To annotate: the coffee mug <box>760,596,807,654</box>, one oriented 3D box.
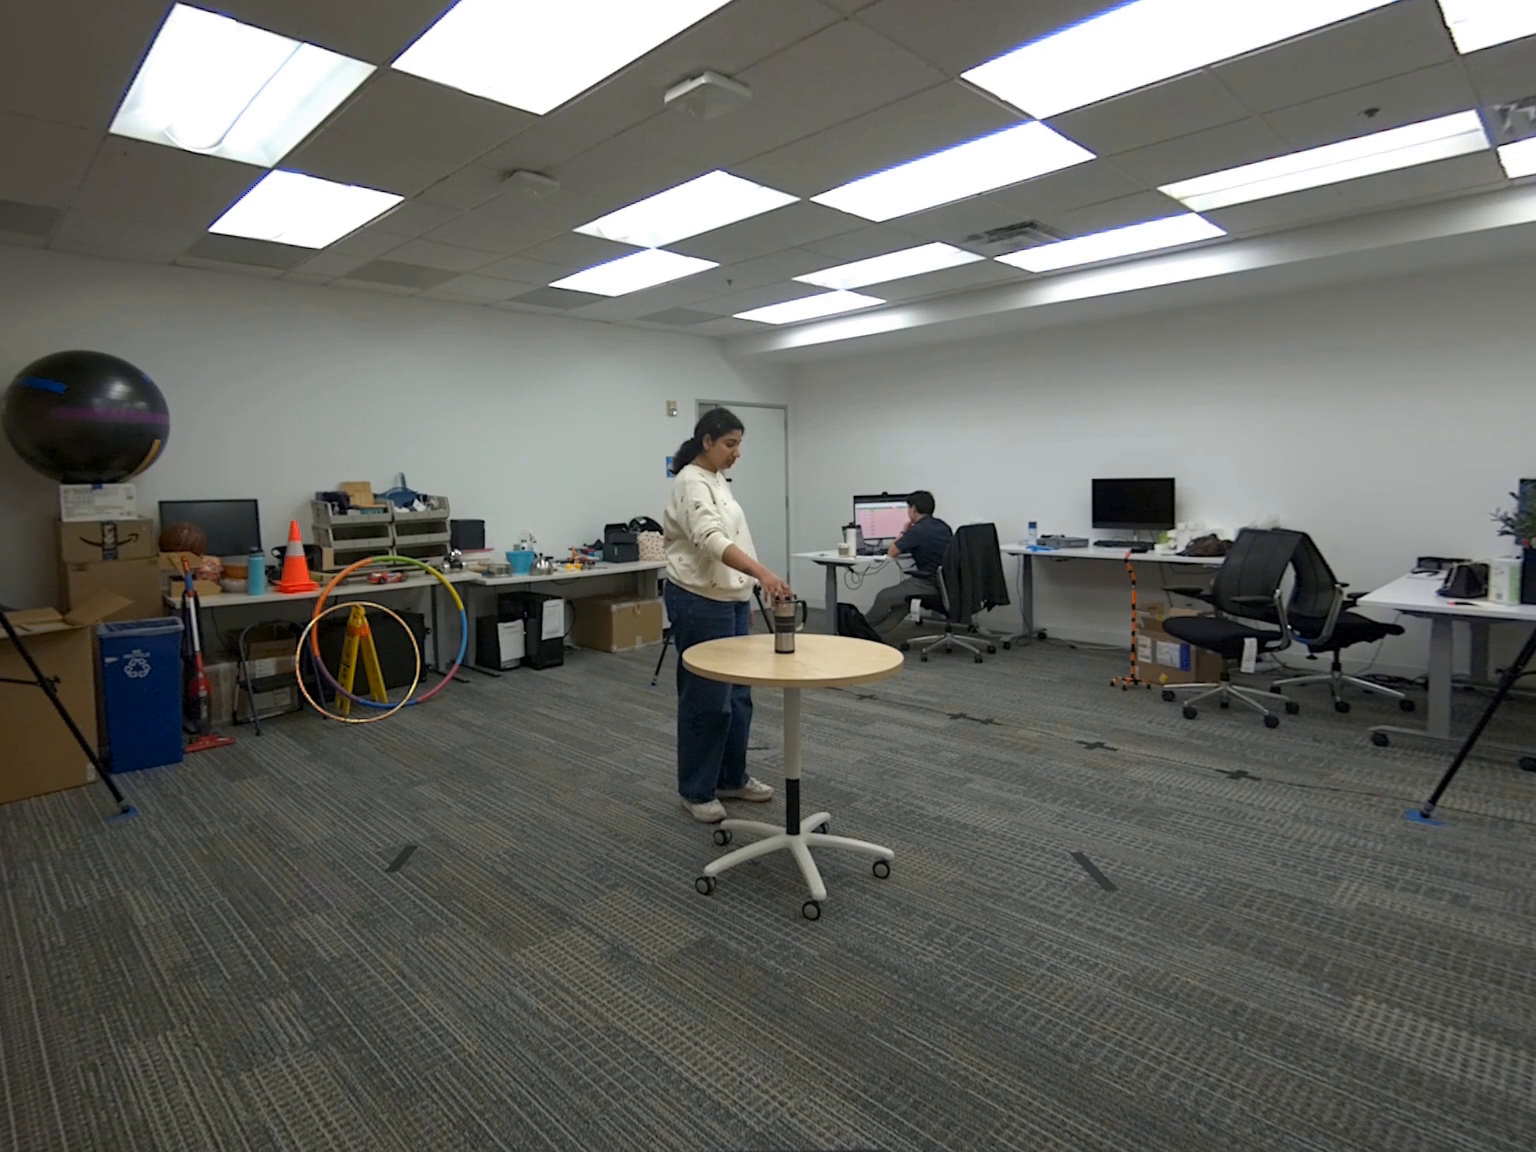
[{"bbox_3d":[0.079,0.173,2.992,0.125,0.203,0.085,0,3,41],"label":"coffee mug"}]
